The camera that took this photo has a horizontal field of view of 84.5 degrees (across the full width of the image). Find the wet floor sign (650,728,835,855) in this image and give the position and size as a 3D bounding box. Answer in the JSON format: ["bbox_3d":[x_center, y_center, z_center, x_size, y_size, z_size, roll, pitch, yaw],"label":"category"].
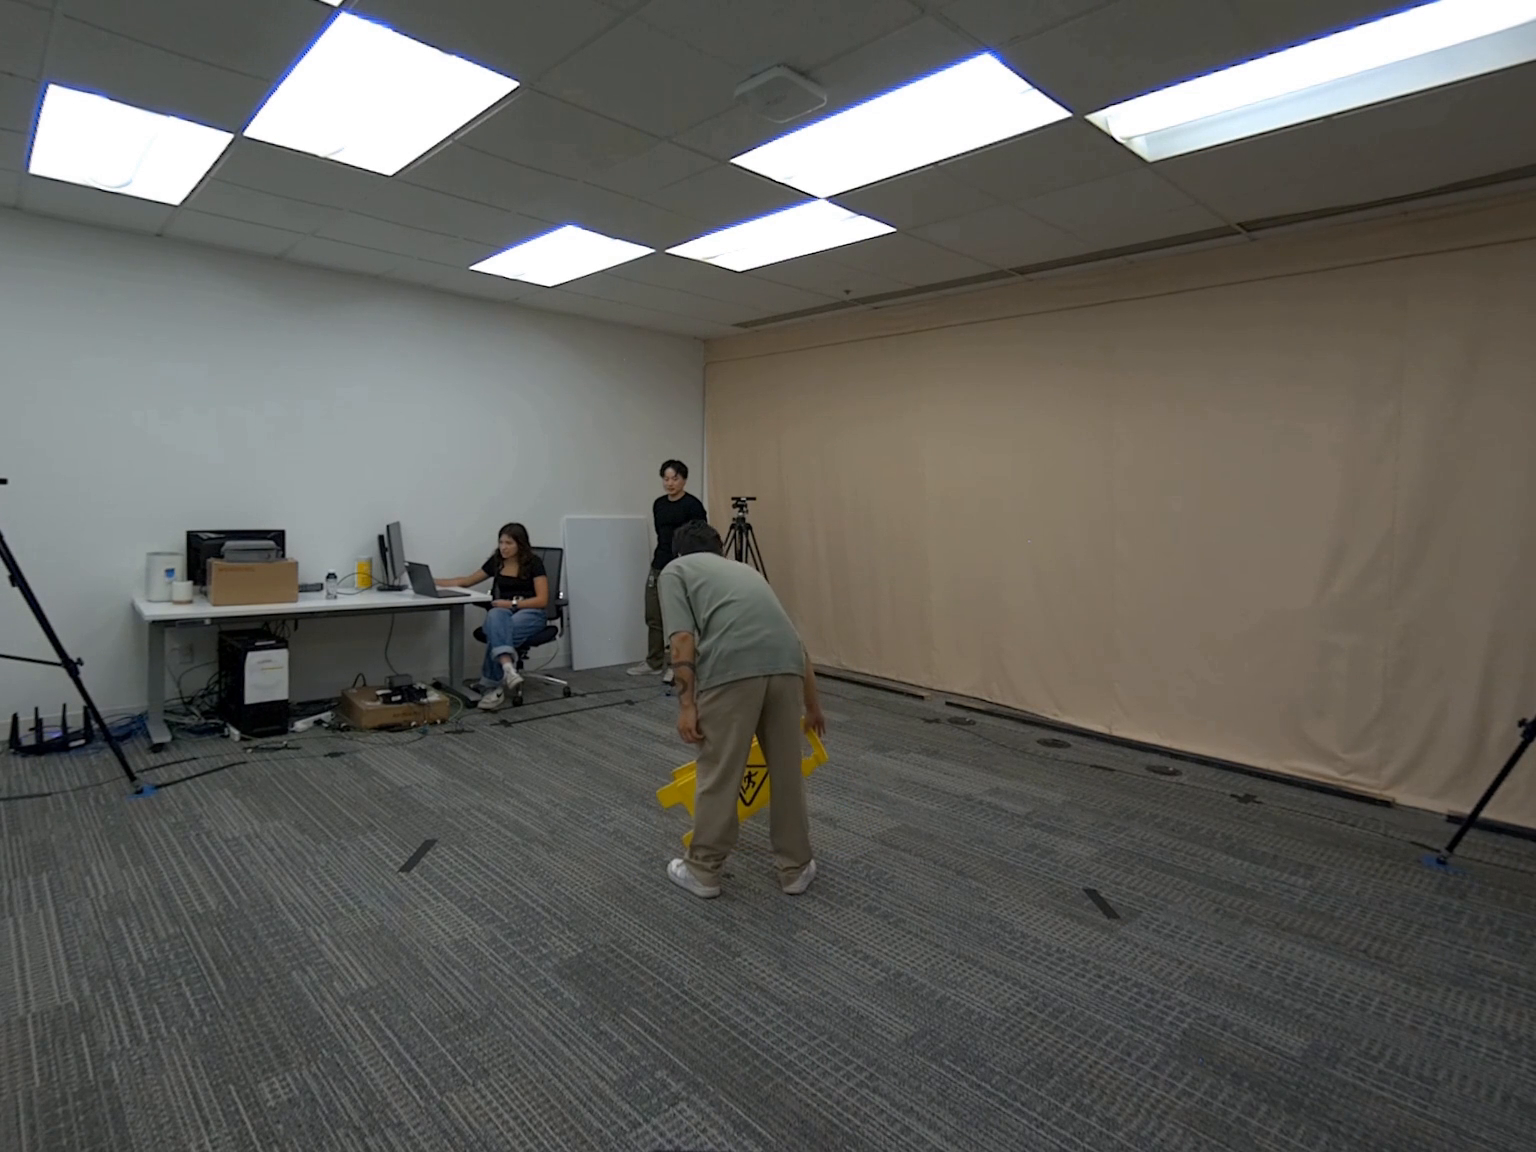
[{"bbox_3d":[-0.094,0.801,3.372,0.648,0.283,0.288,-32,-1,10],"label":"wet floor sign"}]
